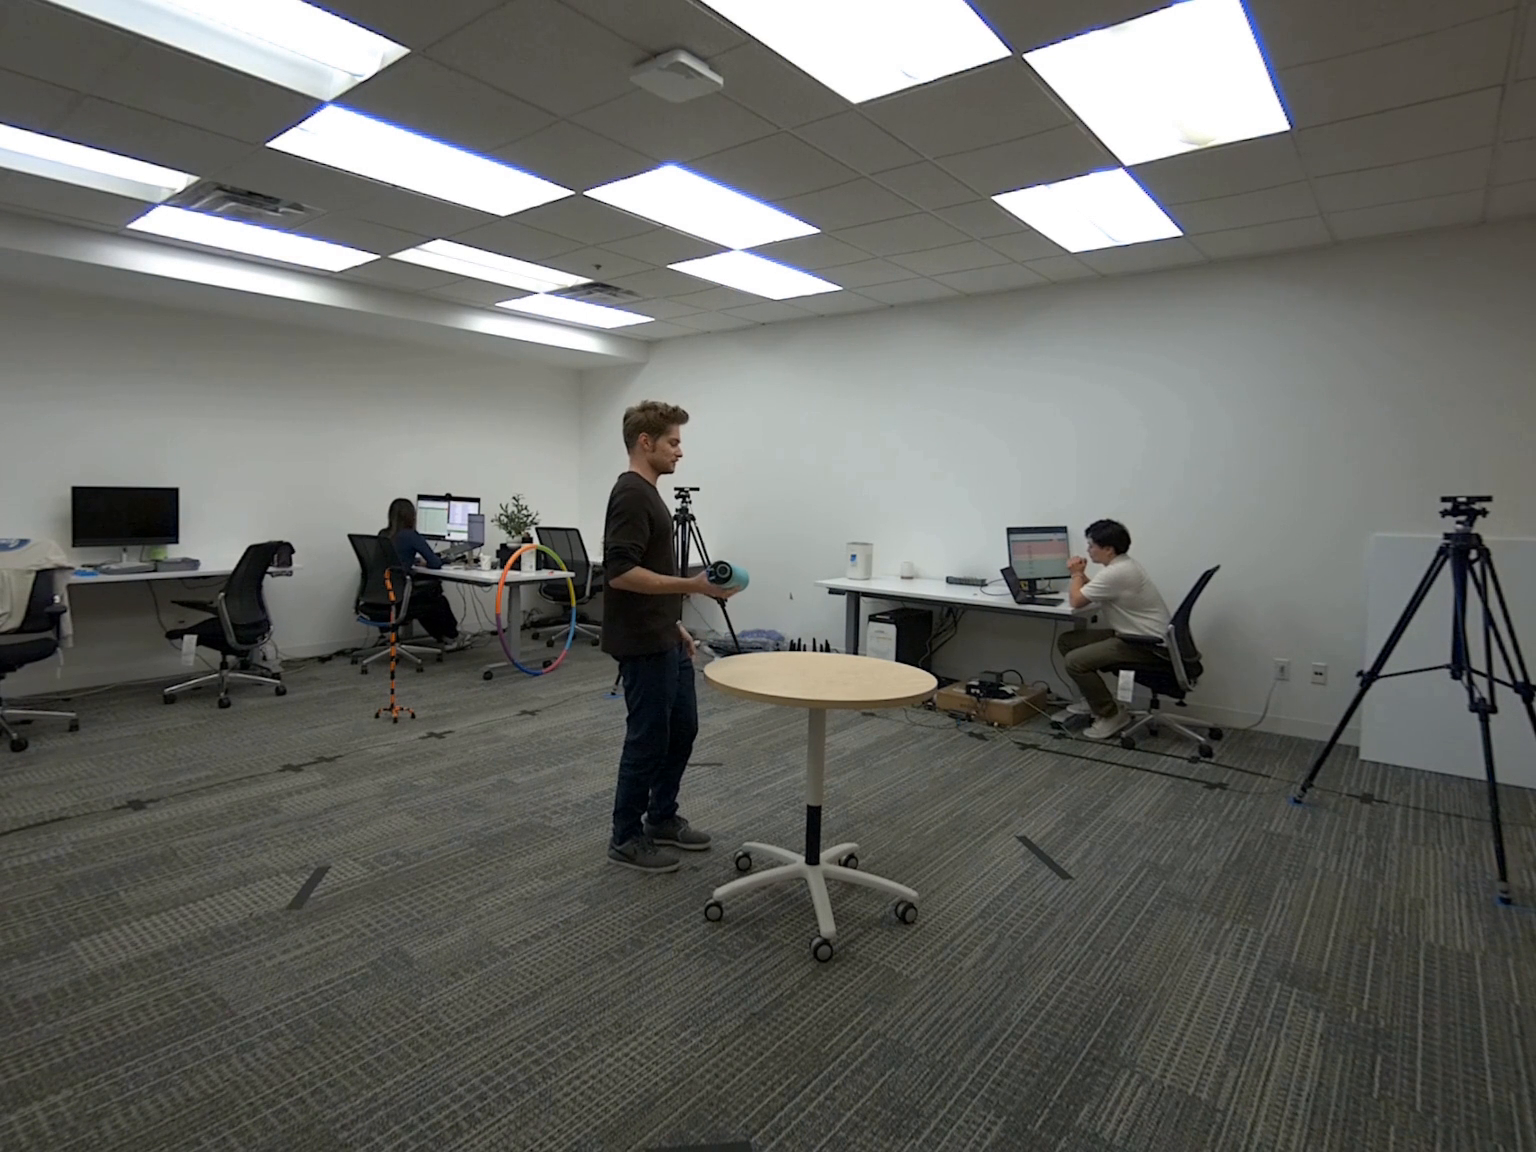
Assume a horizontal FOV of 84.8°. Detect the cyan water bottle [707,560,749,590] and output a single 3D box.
[{"bbox_3d":[-0.148,-0.004,2.862,0.093,0.093,0.279,2,-4,8],"label":"cyan water bottle"}]
